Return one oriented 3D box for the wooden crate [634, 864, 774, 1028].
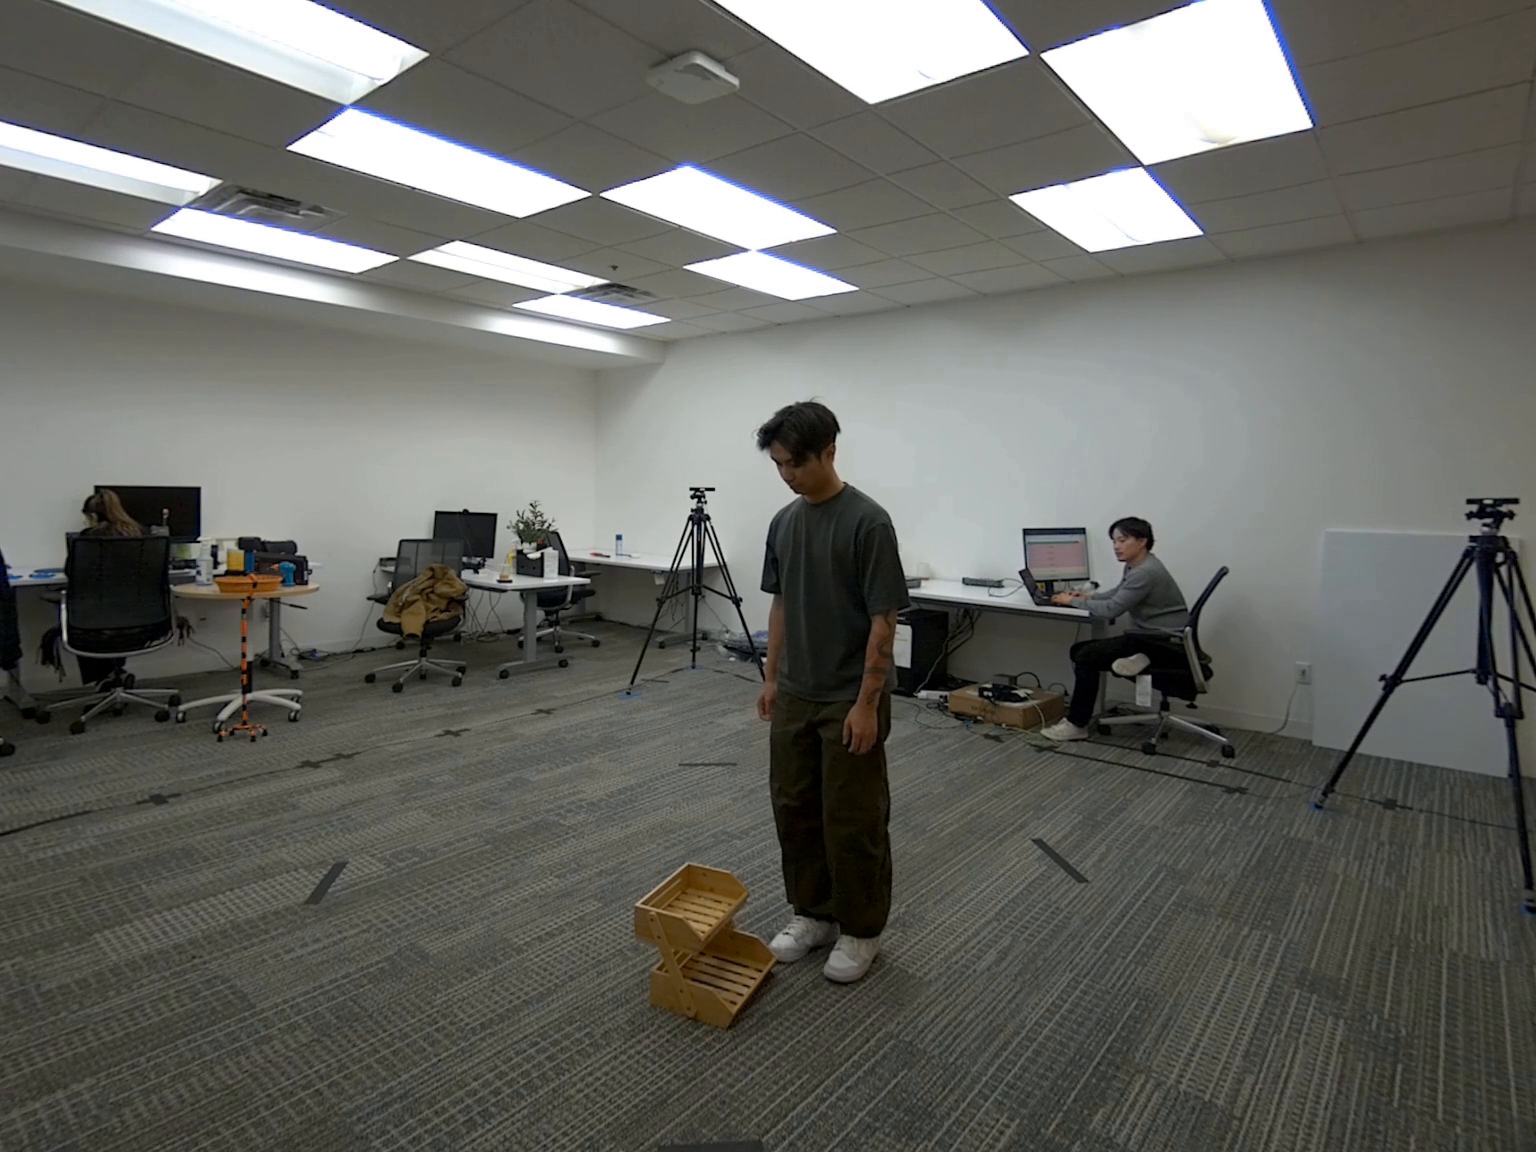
[{"bbox_3d":[-0.171,1.009,2.371,0.310,0.272,0.317,2,4,25],"label":"wooden crate"}]
